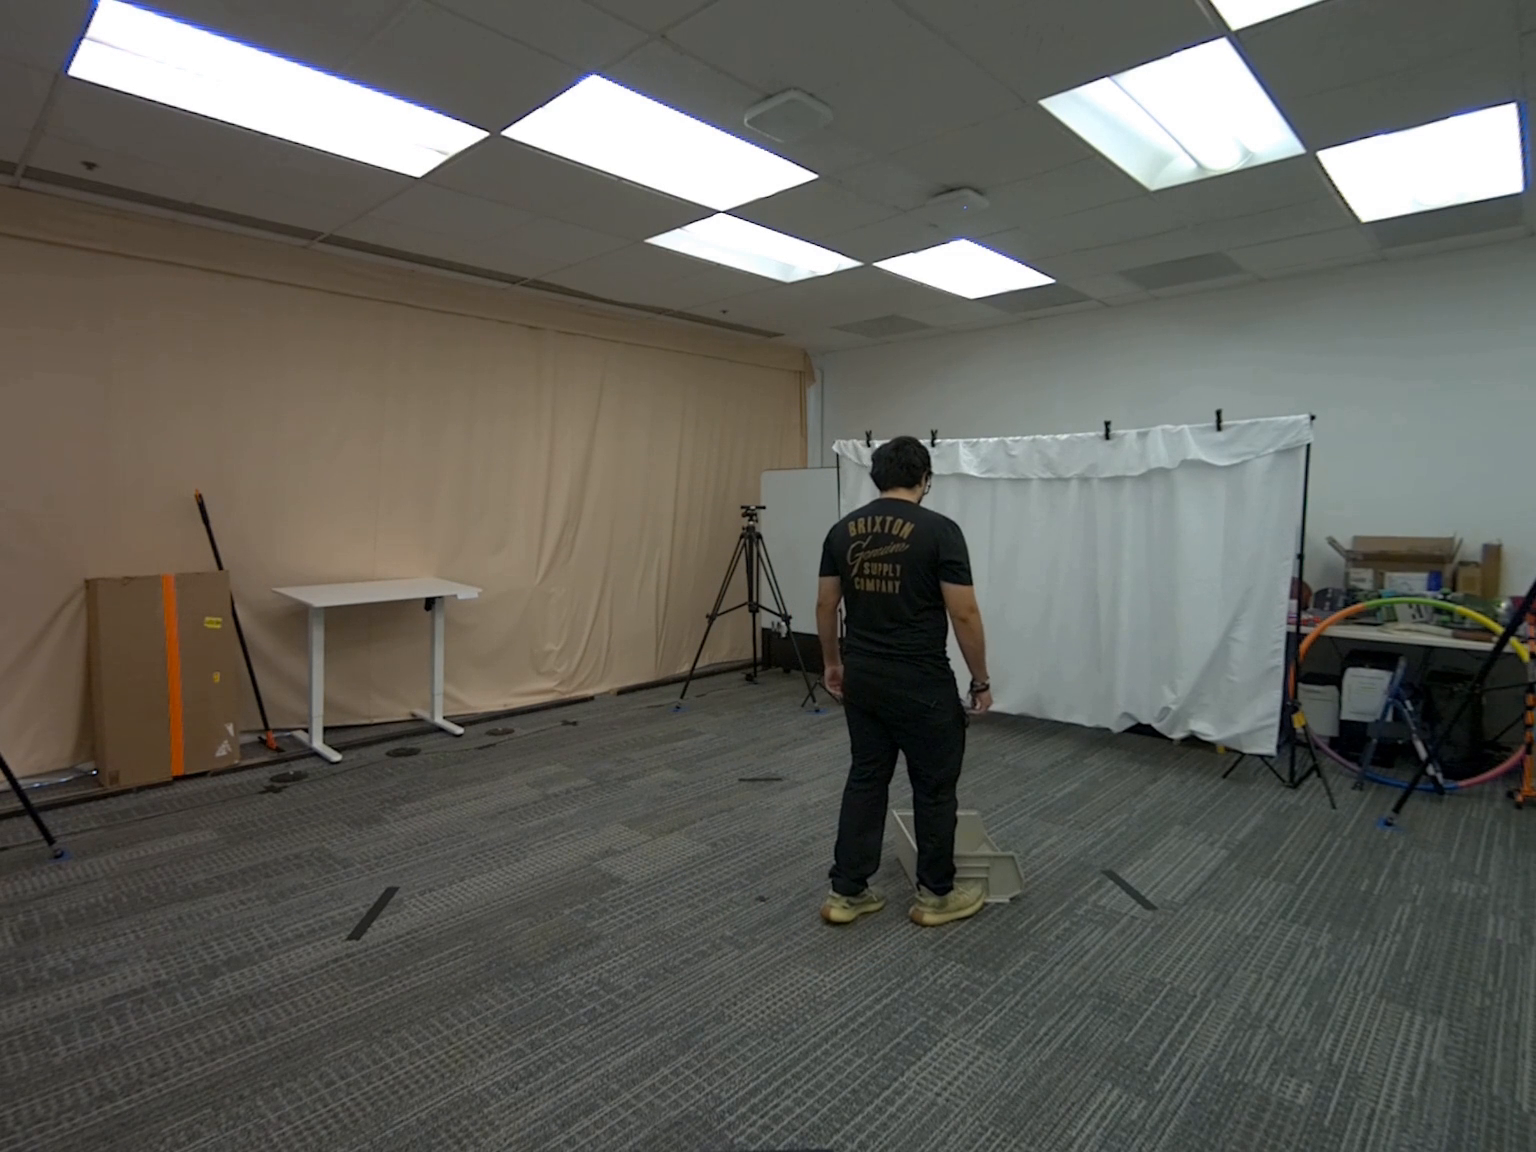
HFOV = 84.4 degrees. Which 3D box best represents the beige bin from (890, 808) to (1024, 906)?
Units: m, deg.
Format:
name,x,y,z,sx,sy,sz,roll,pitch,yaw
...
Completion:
name,x,y,z,sx,sy,sz,roll,pitch,yaw
beige bin,0.719,1.048,3.152,0.377,0.188,0.424,-1,5,-2
